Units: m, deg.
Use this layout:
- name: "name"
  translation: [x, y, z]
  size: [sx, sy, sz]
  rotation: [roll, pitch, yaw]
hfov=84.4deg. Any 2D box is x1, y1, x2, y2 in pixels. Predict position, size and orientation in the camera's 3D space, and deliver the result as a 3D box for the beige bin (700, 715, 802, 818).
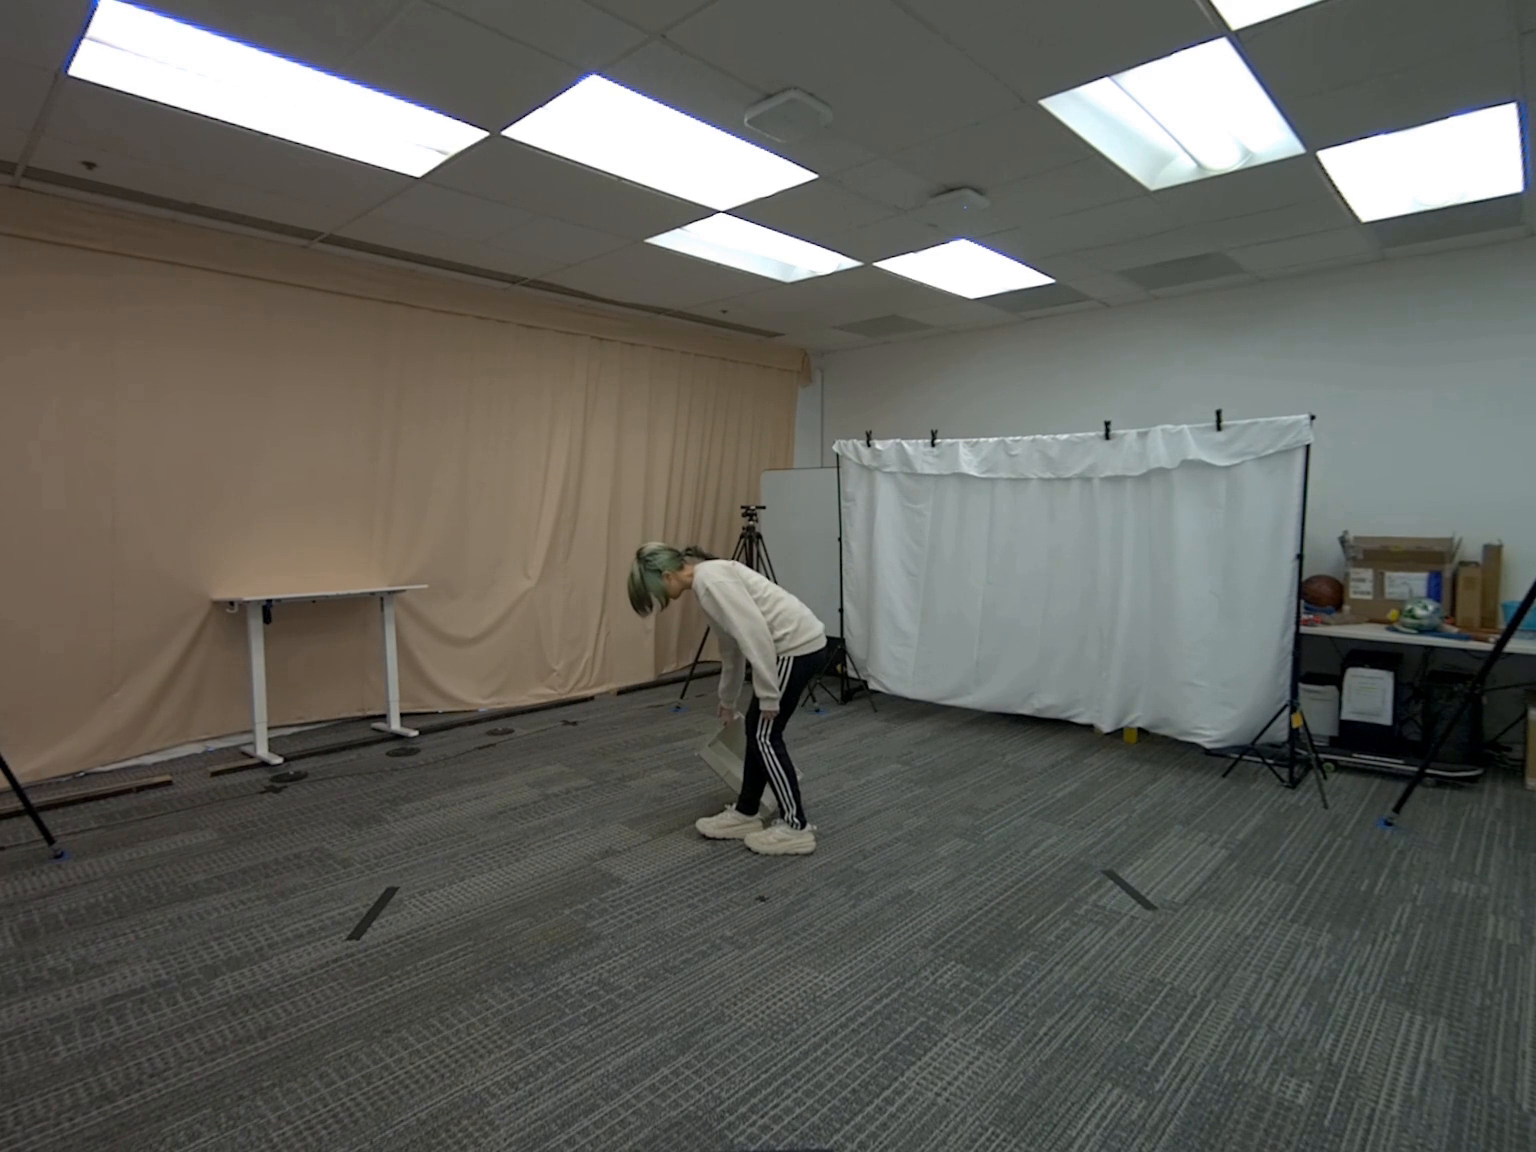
- name: "beige bin"
  translation: [-0.086, 0.864, 3.846]
  size: [0.428, 0.189, 0.371]
  rotation: [43, 12, 10]
